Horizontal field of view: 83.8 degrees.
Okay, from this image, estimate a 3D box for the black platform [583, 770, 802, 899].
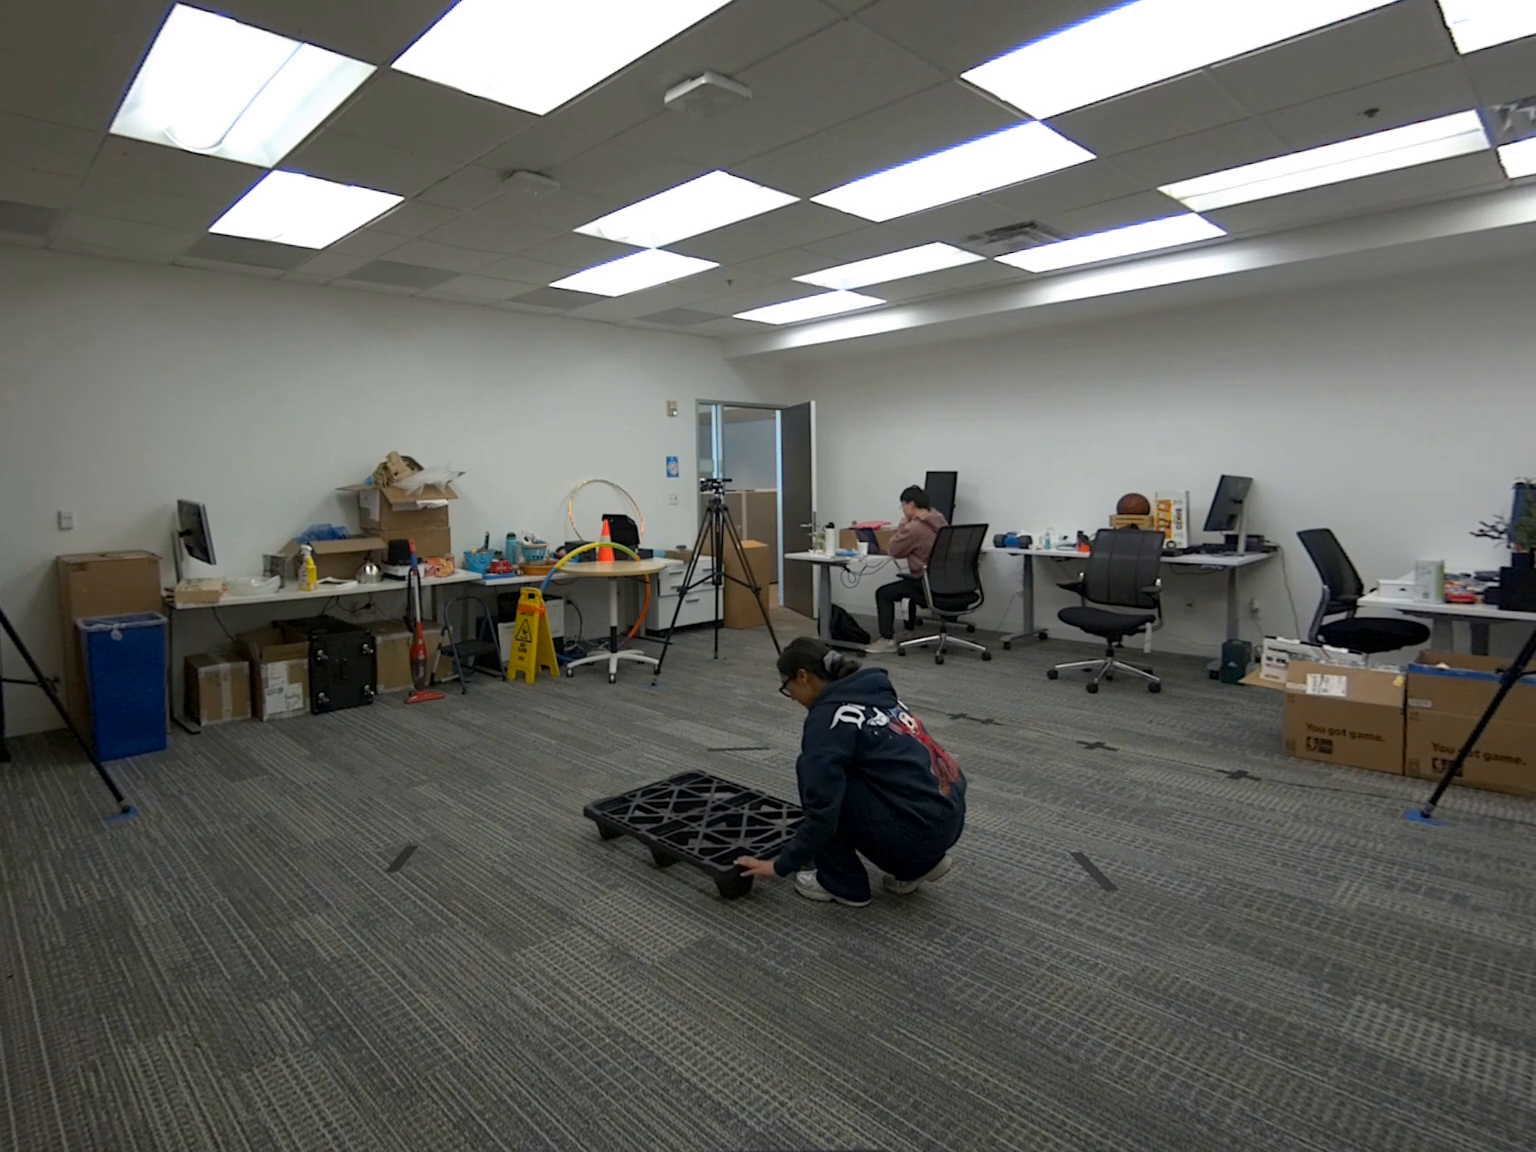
[{"bbox_3d":[-0.234,0.965,3.249,0.831,0.142,0.590,5,10,45],"label":"black platform"}]
